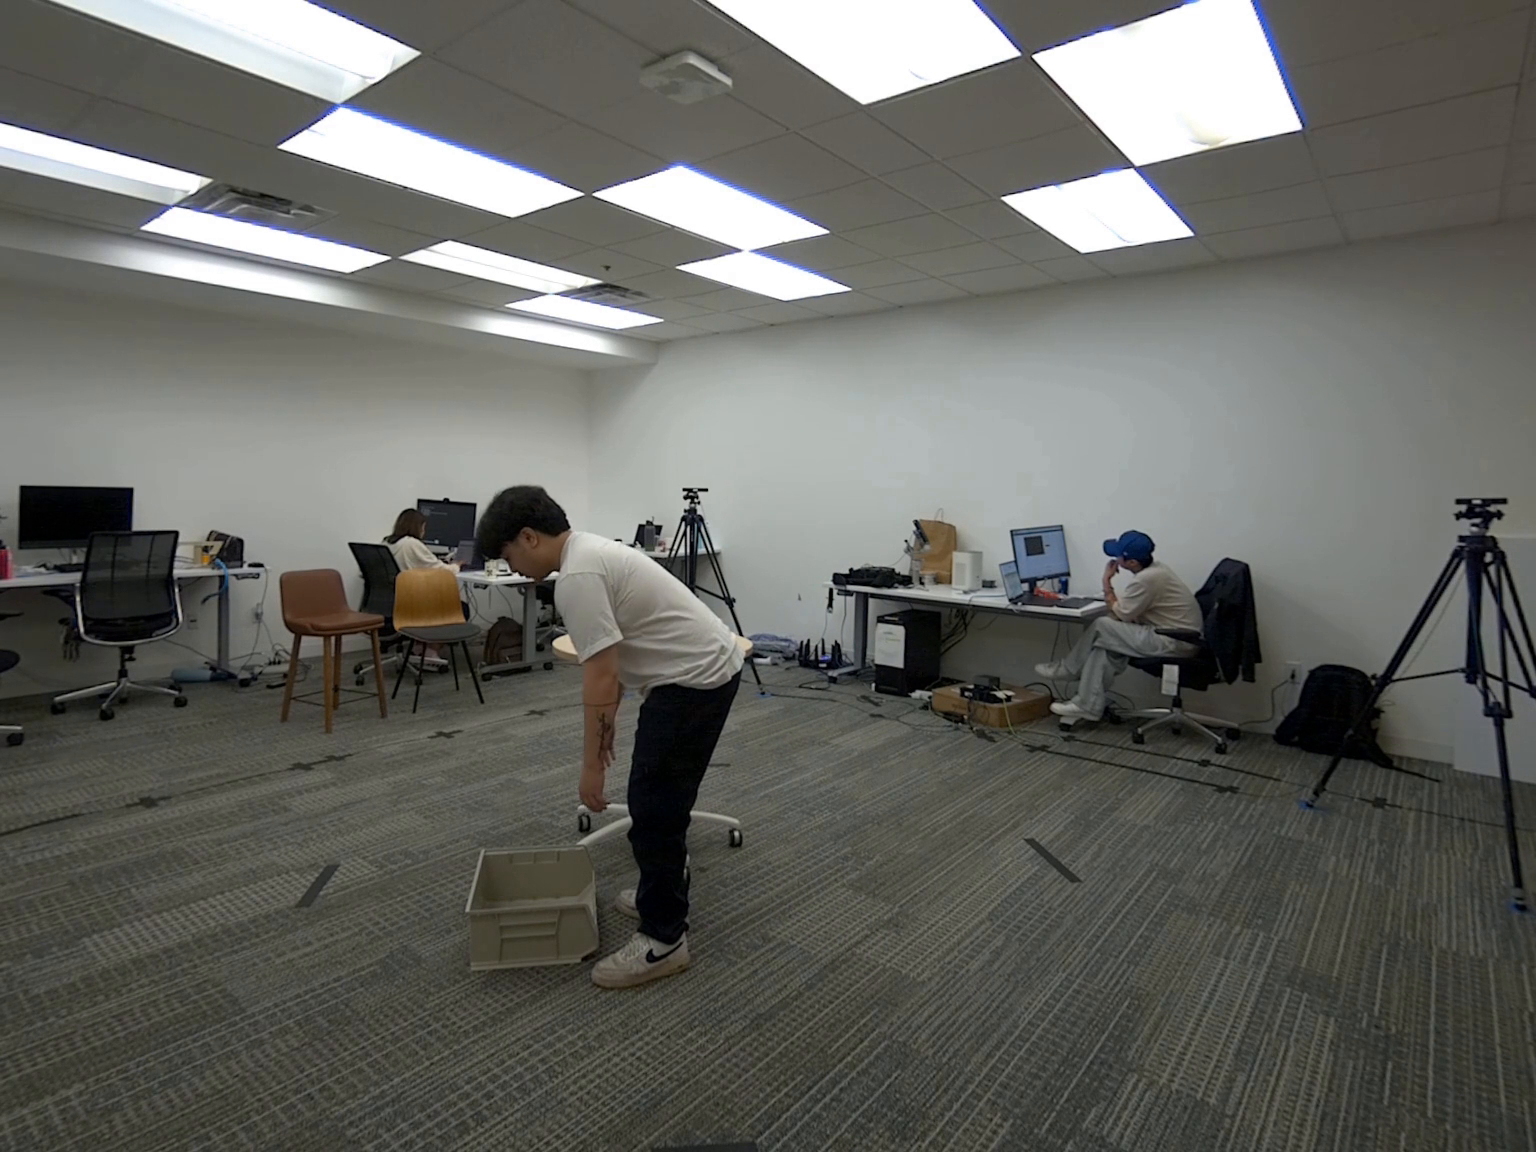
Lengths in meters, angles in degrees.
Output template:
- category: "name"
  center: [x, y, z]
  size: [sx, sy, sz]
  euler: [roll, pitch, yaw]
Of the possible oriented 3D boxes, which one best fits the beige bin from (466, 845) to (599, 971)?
- category: "beige bin"
  center: [-0.734, 1.016, 2.653]
  size: [0.373, 0.188, 0.429]
  euler: [0, 6, -12]
